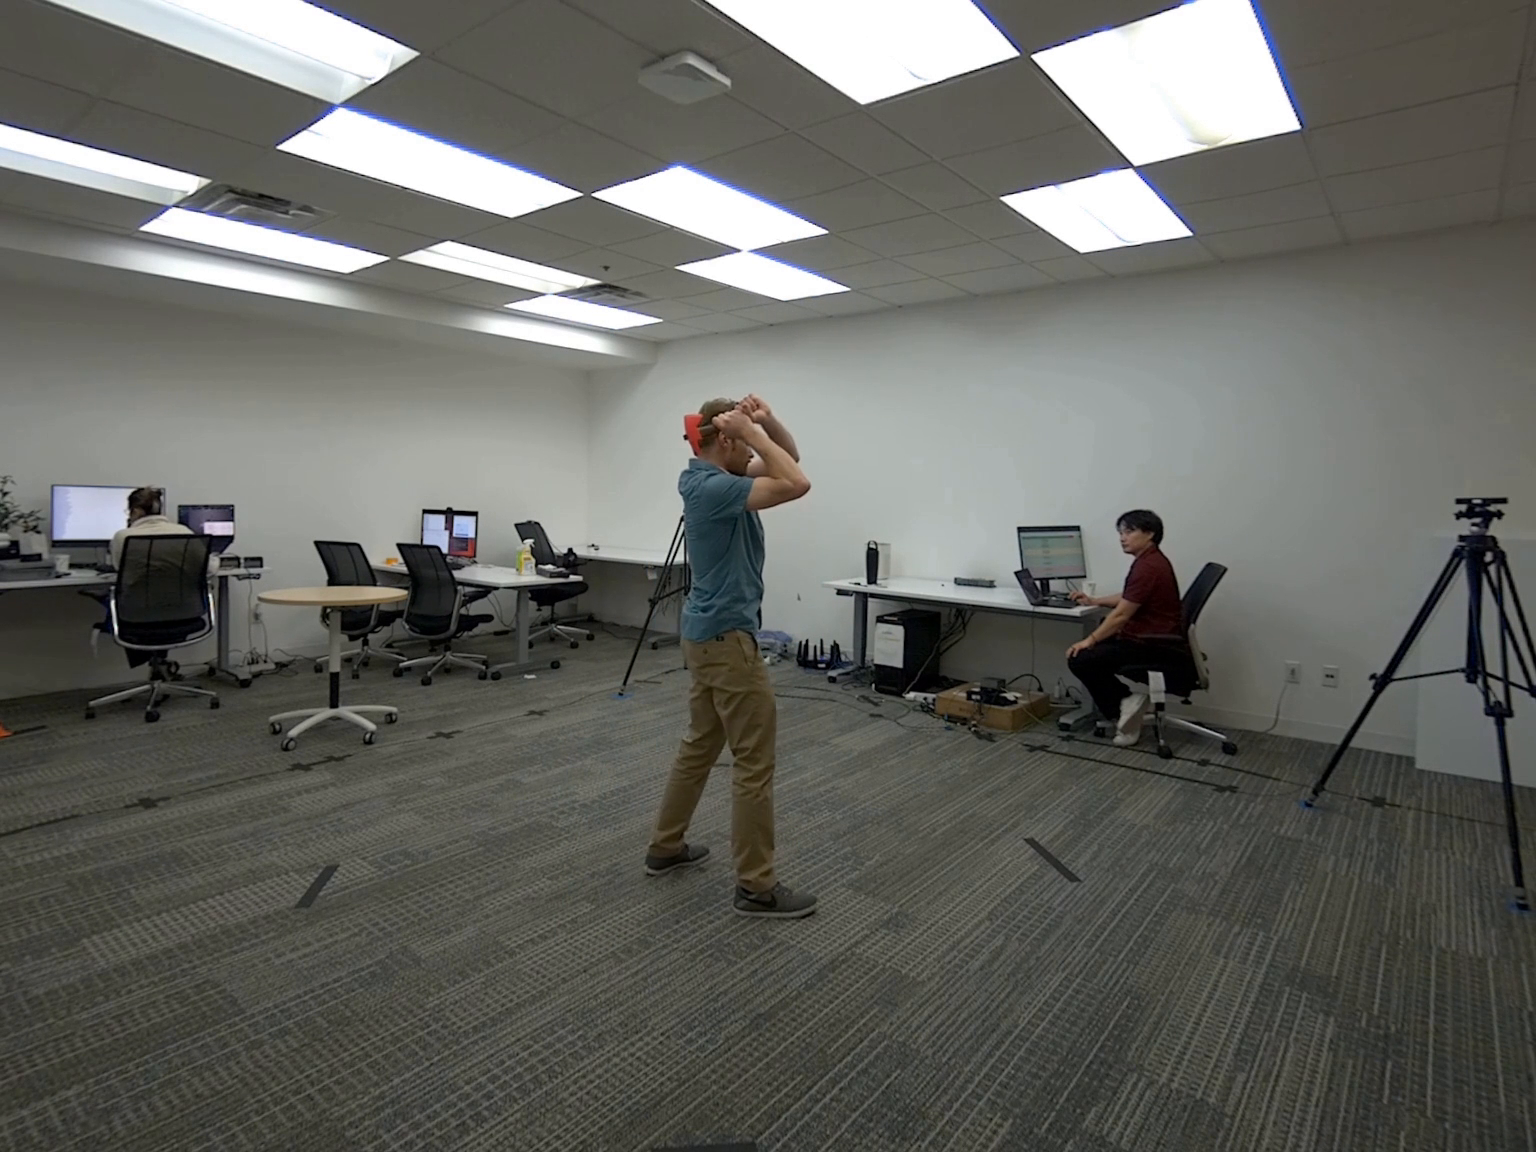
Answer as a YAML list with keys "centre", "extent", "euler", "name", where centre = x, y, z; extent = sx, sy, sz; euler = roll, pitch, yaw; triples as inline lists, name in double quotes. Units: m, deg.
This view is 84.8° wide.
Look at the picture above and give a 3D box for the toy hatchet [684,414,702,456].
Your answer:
- centre: [-0.154, -0.529, 2.813]
  extent: [0.269, 0.129, 0.030]
  euler: [-37, 8, -16]
  name: "toy hatchet"
